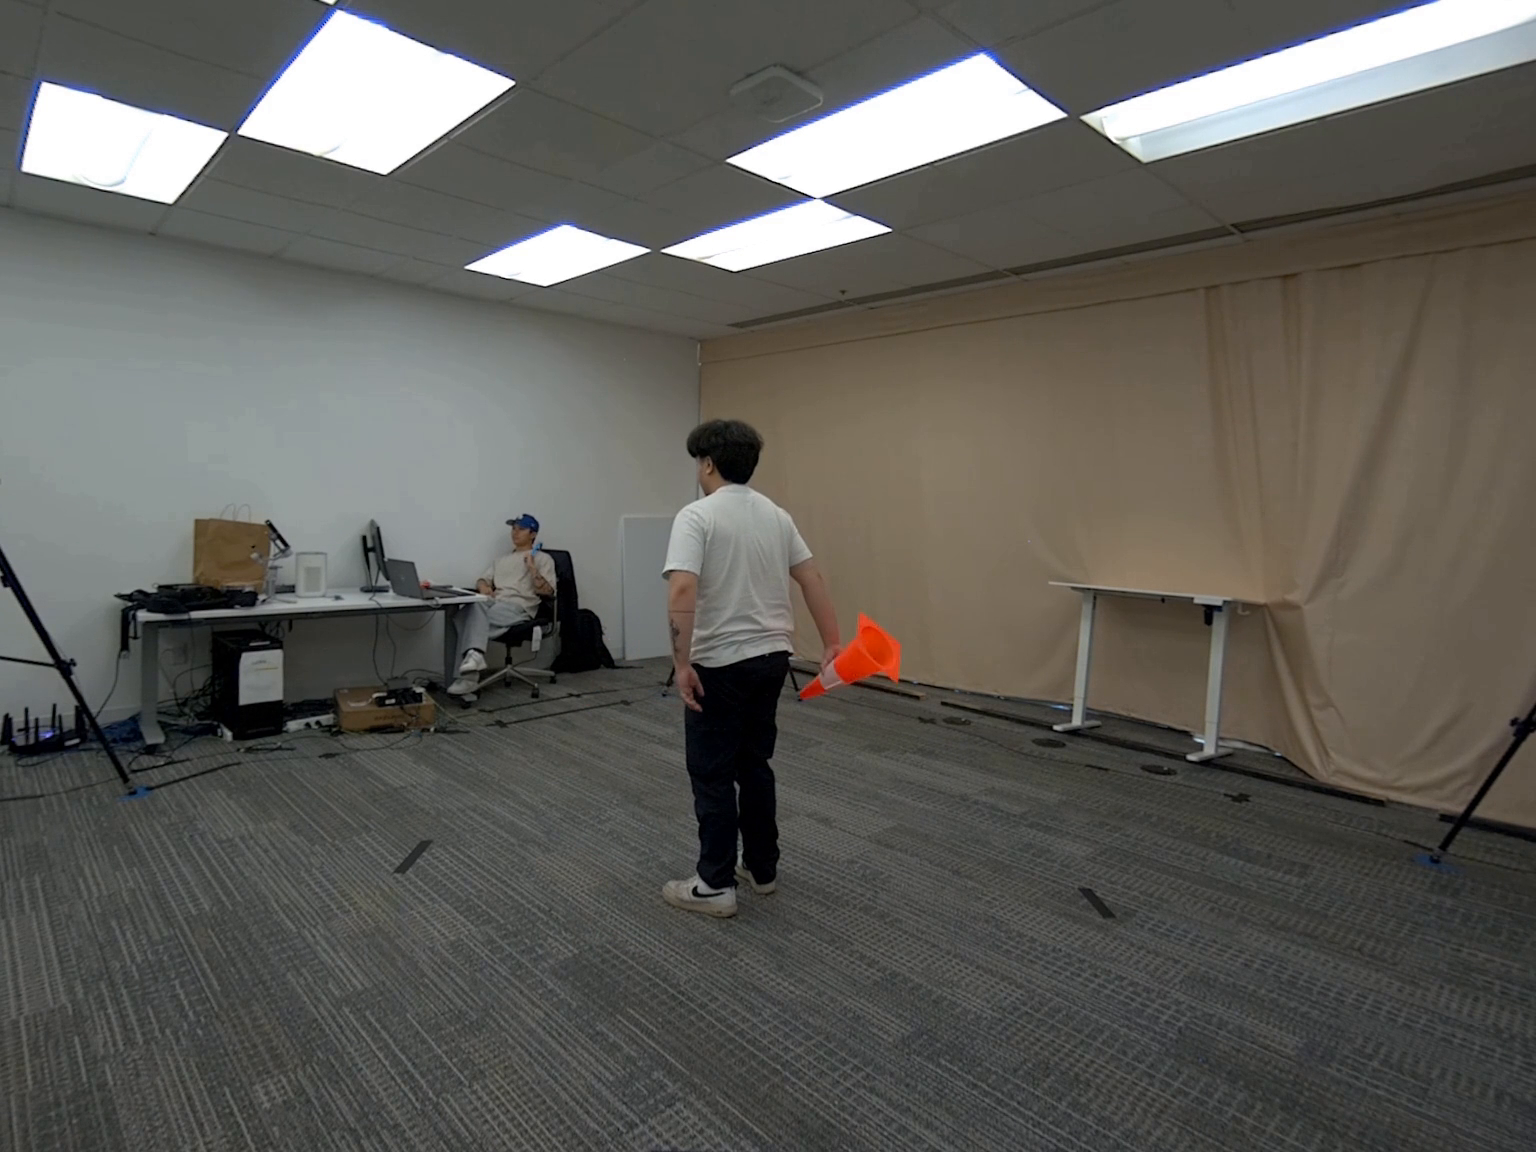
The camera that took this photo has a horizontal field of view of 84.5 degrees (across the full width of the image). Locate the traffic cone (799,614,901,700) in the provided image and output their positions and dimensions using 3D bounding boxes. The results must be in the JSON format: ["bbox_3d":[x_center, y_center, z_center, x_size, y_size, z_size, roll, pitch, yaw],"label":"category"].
[{"bbox_3d":[0.240,0.340,2.938,0.385,0.200,0.207,-37,19,32],"label":"traffic cone"}]
